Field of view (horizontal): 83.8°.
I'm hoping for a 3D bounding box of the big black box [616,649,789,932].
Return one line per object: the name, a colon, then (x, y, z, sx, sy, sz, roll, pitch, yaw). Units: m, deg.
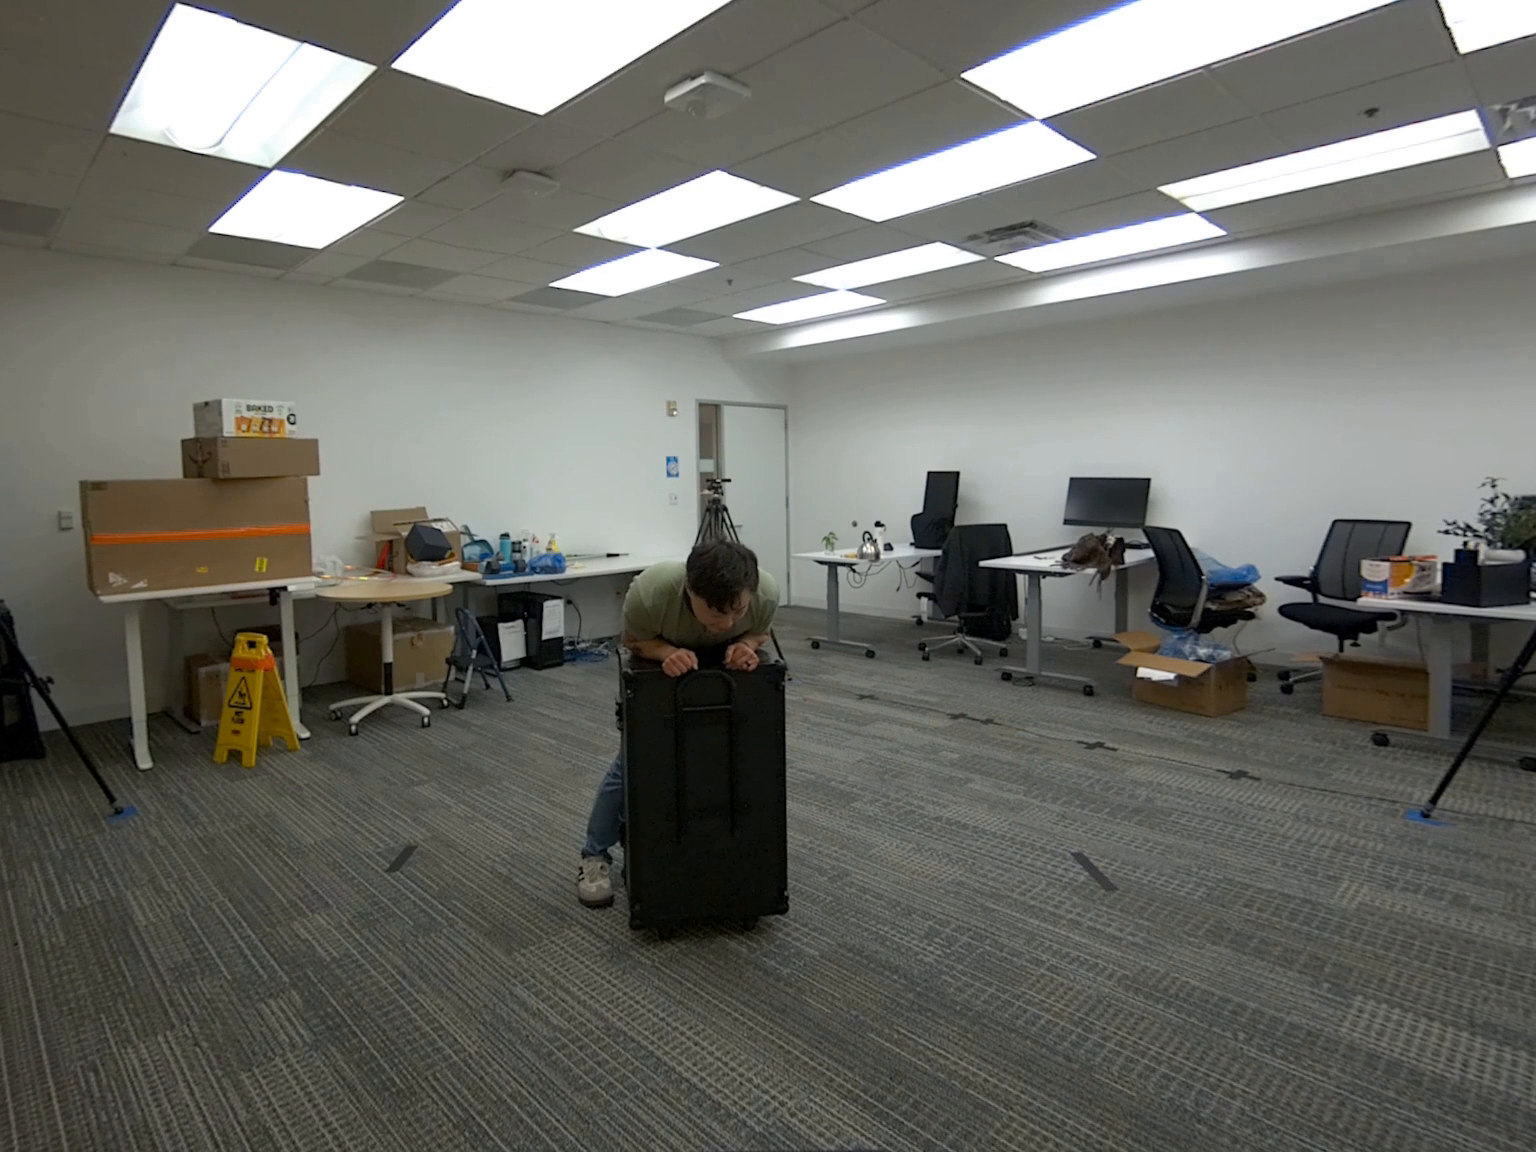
big black box: (-0.199, 0.669, 2.697, 0.516, 0.857, 0.402, -1, 6, -11)
